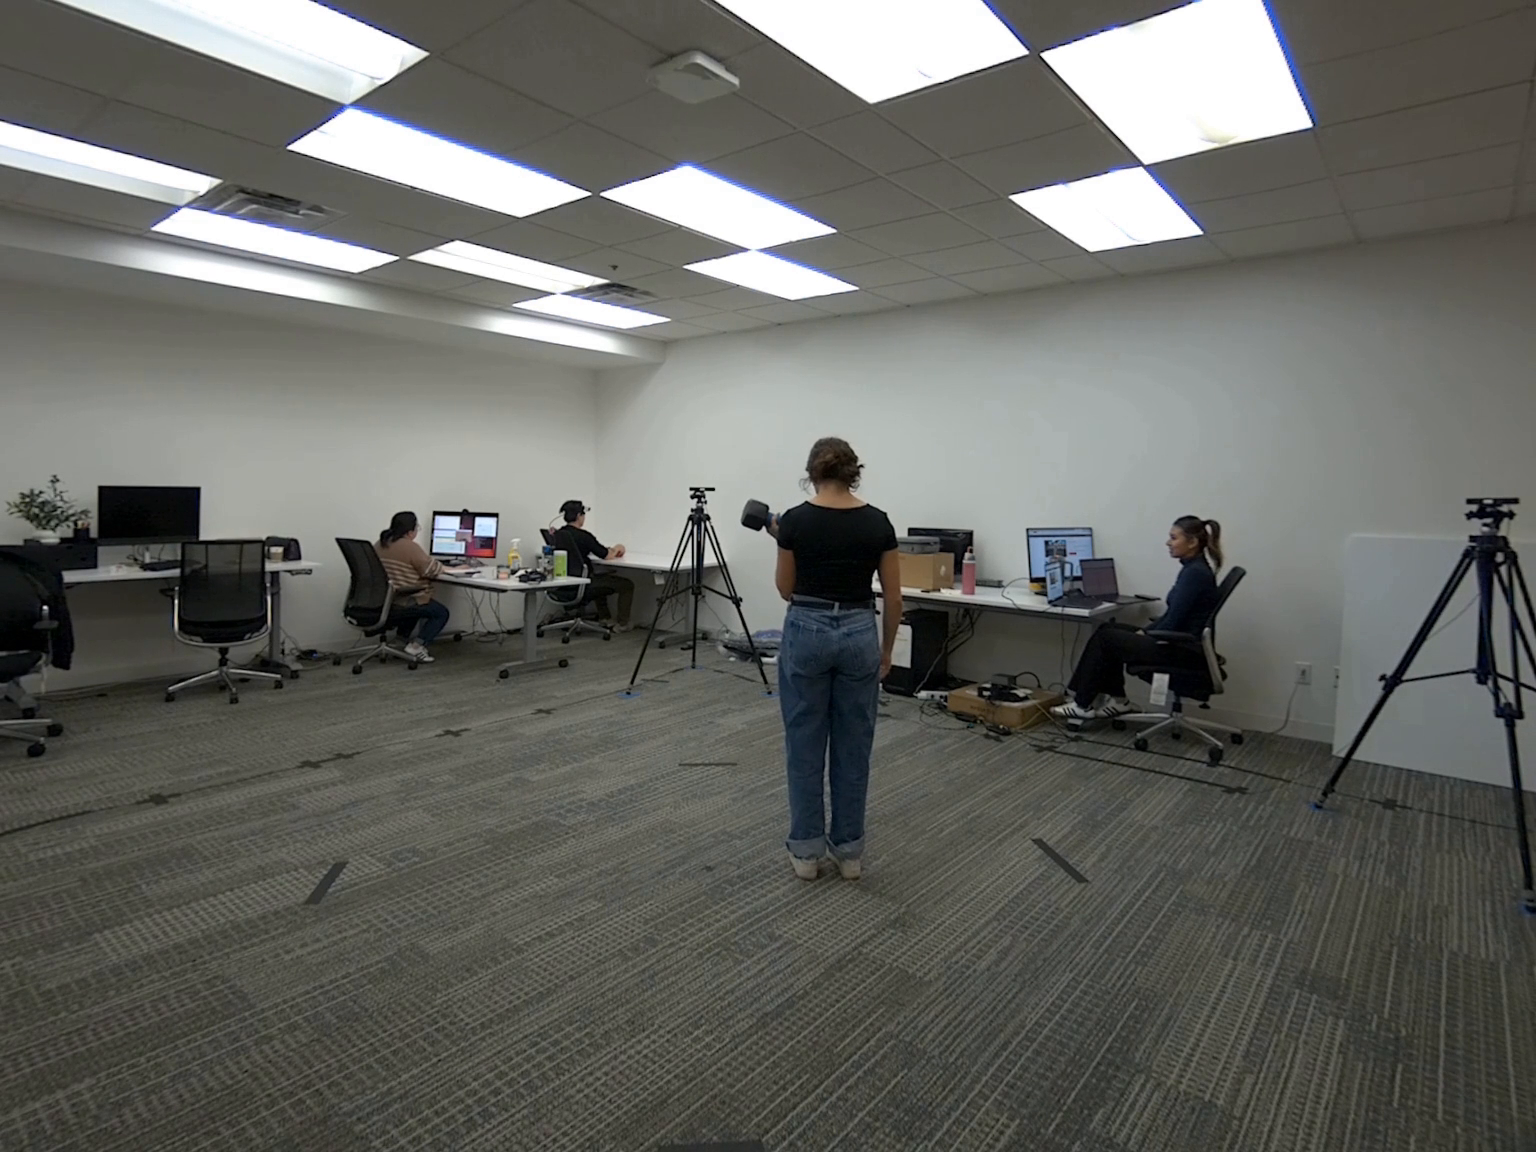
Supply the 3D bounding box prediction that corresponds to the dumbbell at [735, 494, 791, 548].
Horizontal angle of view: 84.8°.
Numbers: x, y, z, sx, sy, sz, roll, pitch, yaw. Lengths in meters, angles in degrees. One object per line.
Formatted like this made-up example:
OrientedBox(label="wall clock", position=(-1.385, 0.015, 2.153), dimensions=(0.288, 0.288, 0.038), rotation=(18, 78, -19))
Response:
OrientedBox(label="dumbbell", position=(0.037, -0.195, 3.259), dimensions=(0.290, 0.125, 0.108), rotation=(20, -24, -9))
